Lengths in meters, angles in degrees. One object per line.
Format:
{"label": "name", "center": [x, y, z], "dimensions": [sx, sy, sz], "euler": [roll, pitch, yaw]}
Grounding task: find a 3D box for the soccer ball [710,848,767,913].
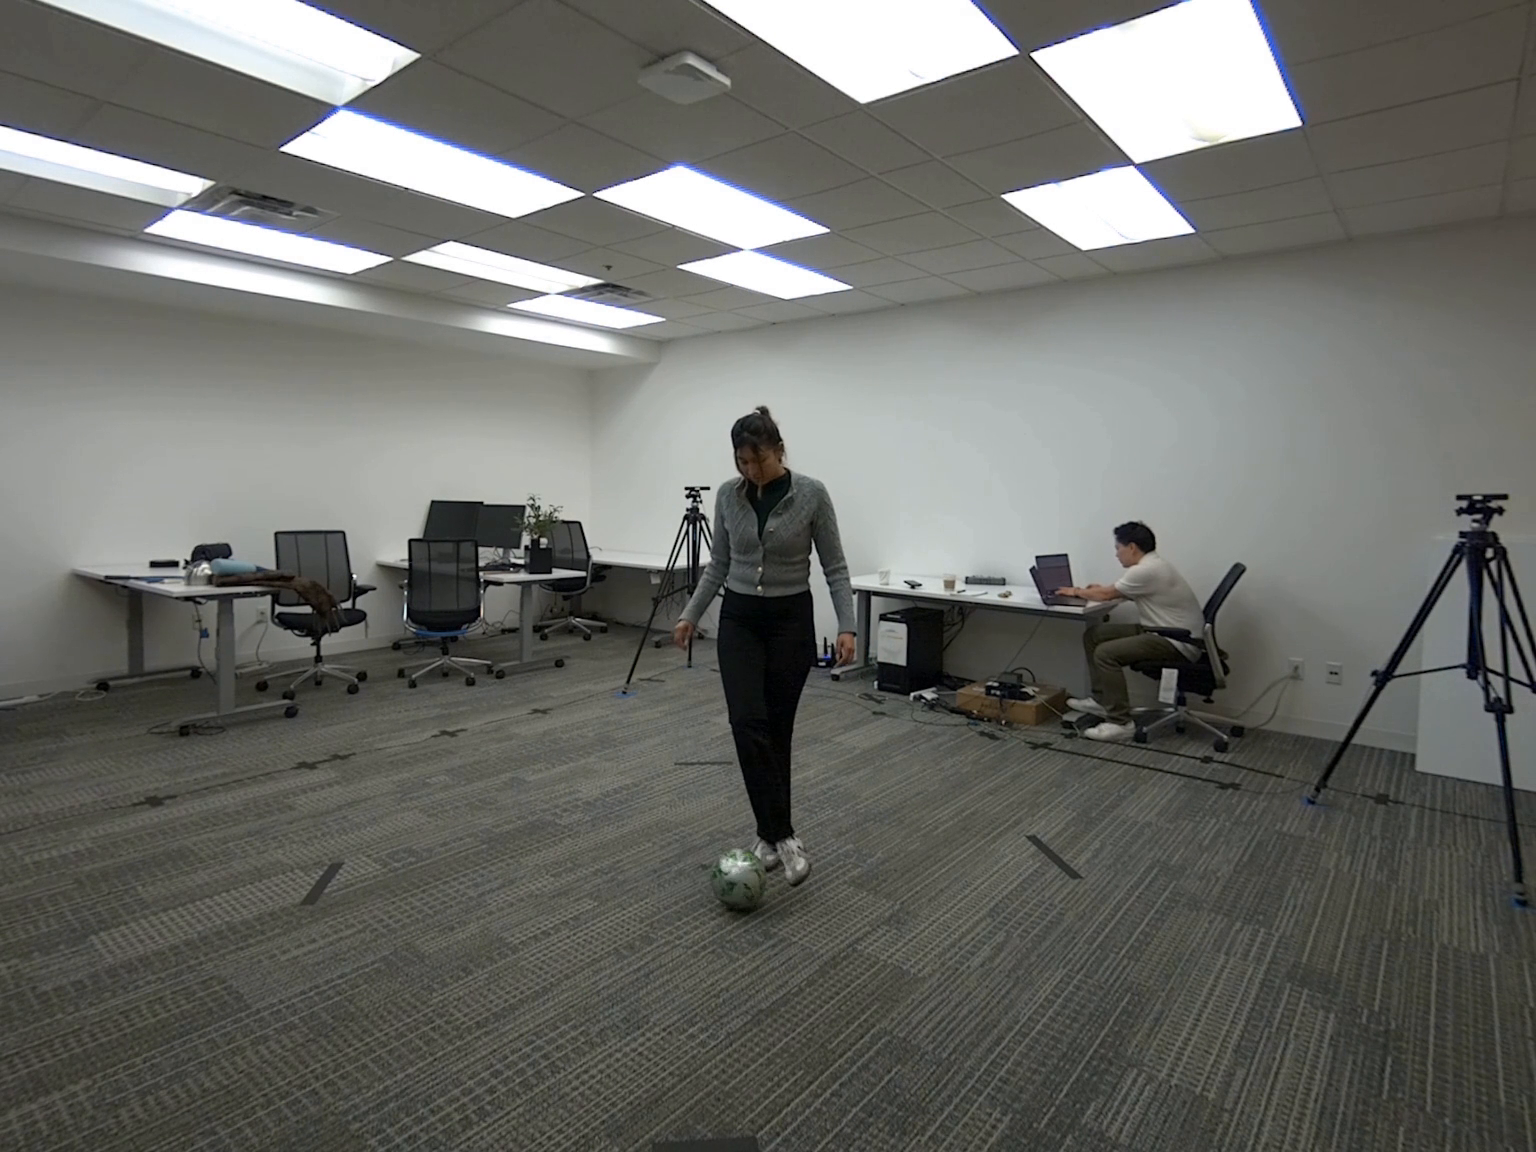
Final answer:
{"label": "soccer ball", "center": [-0.117, 1.003, 2.827], "dimensions": [0.187, 0.187, 0.188], "euler": [1, 4, -2]}
